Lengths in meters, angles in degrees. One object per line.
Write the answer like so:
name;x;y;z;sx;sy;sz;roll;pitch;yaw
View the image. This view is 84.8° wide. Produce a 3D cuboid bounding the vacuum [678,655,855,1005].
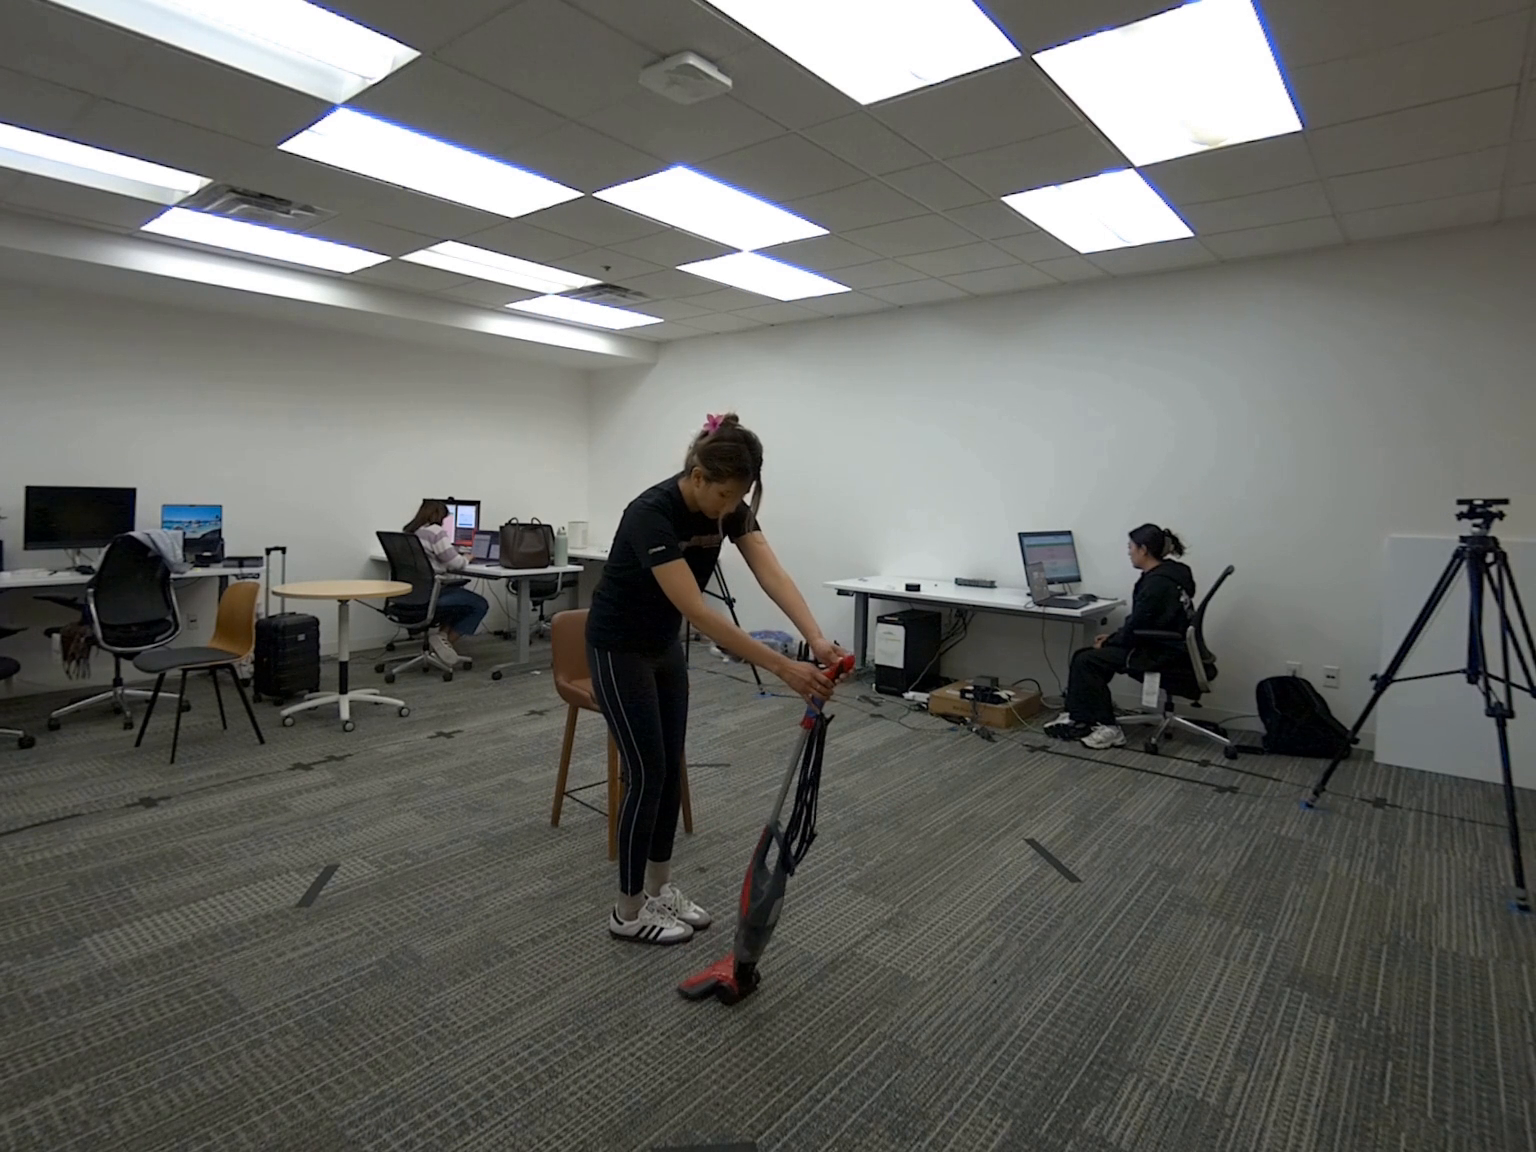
vacuum;0.028;0.675;2.222;0.149;1.039;0.245;31;20;32
